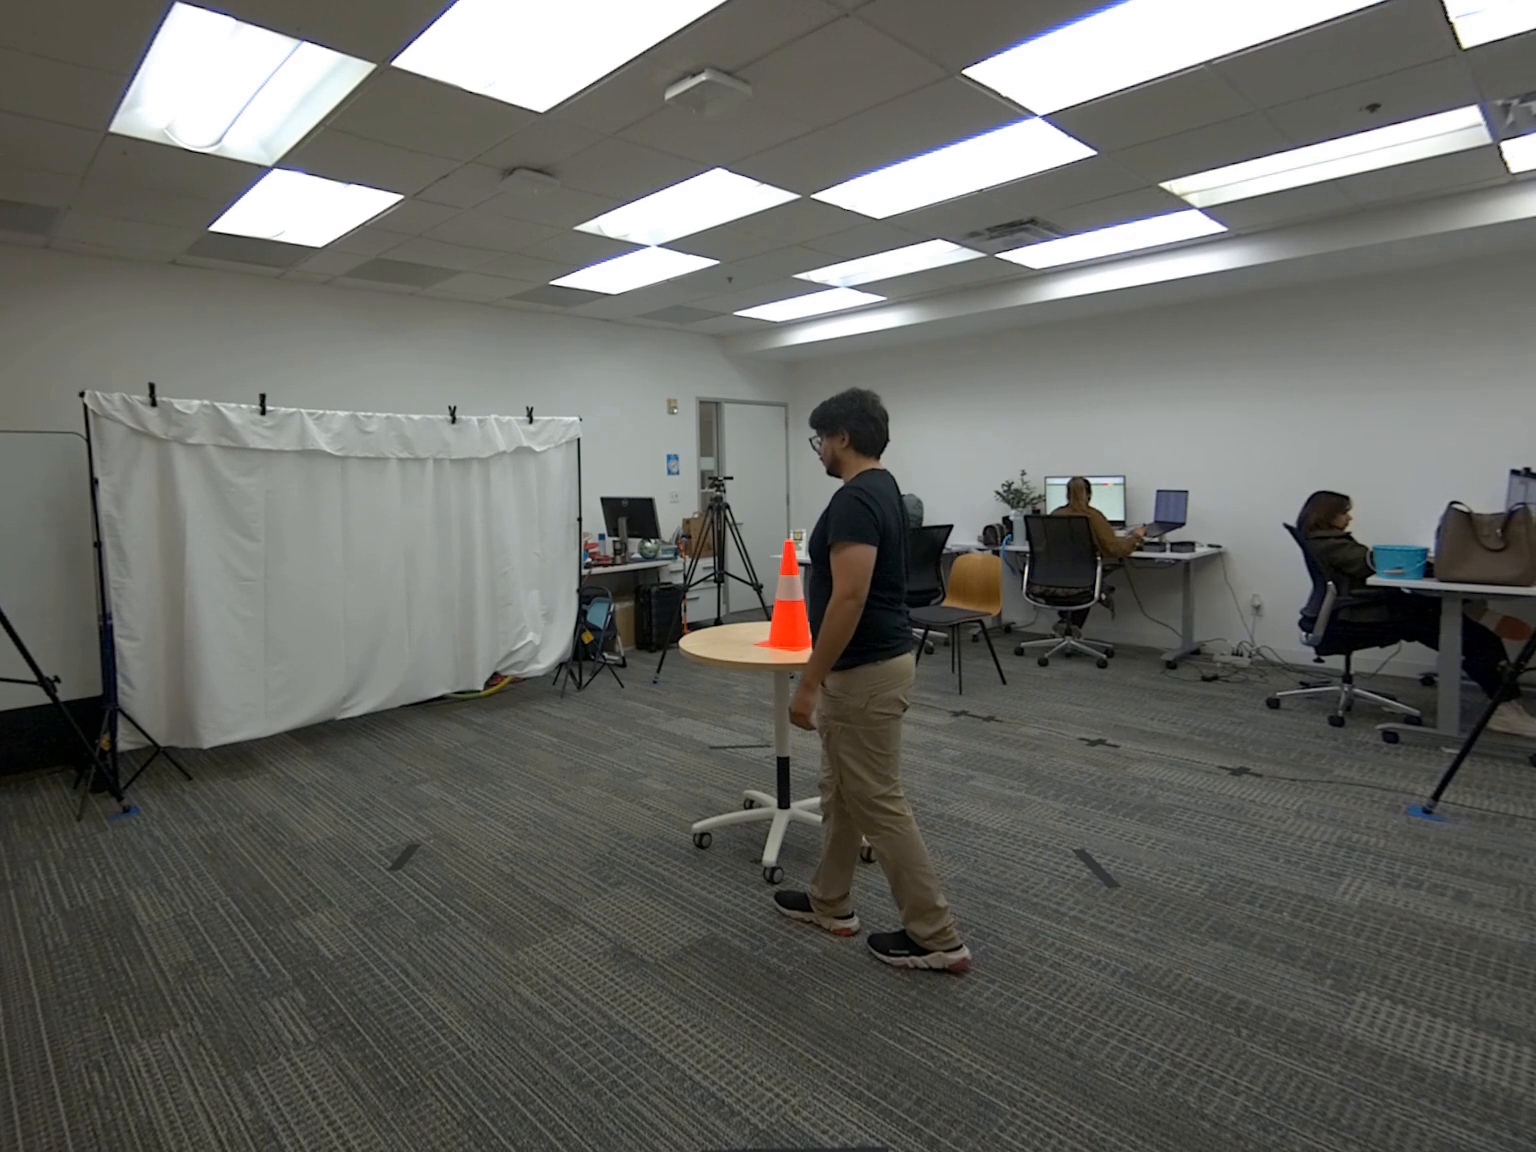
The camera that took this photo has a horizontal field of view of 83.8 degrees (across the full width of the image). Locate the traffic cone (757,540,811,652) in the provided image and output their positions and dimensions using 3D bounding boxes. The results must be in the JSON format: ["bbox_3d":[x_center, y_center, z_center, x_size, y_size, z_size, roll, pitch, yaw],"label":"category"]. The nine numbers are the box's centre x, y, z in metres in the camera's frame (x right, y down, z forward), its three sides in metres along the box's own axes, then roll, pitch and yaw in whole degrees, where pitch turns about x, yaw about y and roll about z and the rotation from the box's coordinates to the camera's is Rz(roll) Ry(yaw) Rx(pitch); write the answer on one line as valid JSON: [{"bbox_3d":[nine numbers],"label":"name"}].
[{"bbox_3d":[0.077,0.062,3.114,0.209,0.382,0.200,2,6,37],"label":"traffic cone"}]
